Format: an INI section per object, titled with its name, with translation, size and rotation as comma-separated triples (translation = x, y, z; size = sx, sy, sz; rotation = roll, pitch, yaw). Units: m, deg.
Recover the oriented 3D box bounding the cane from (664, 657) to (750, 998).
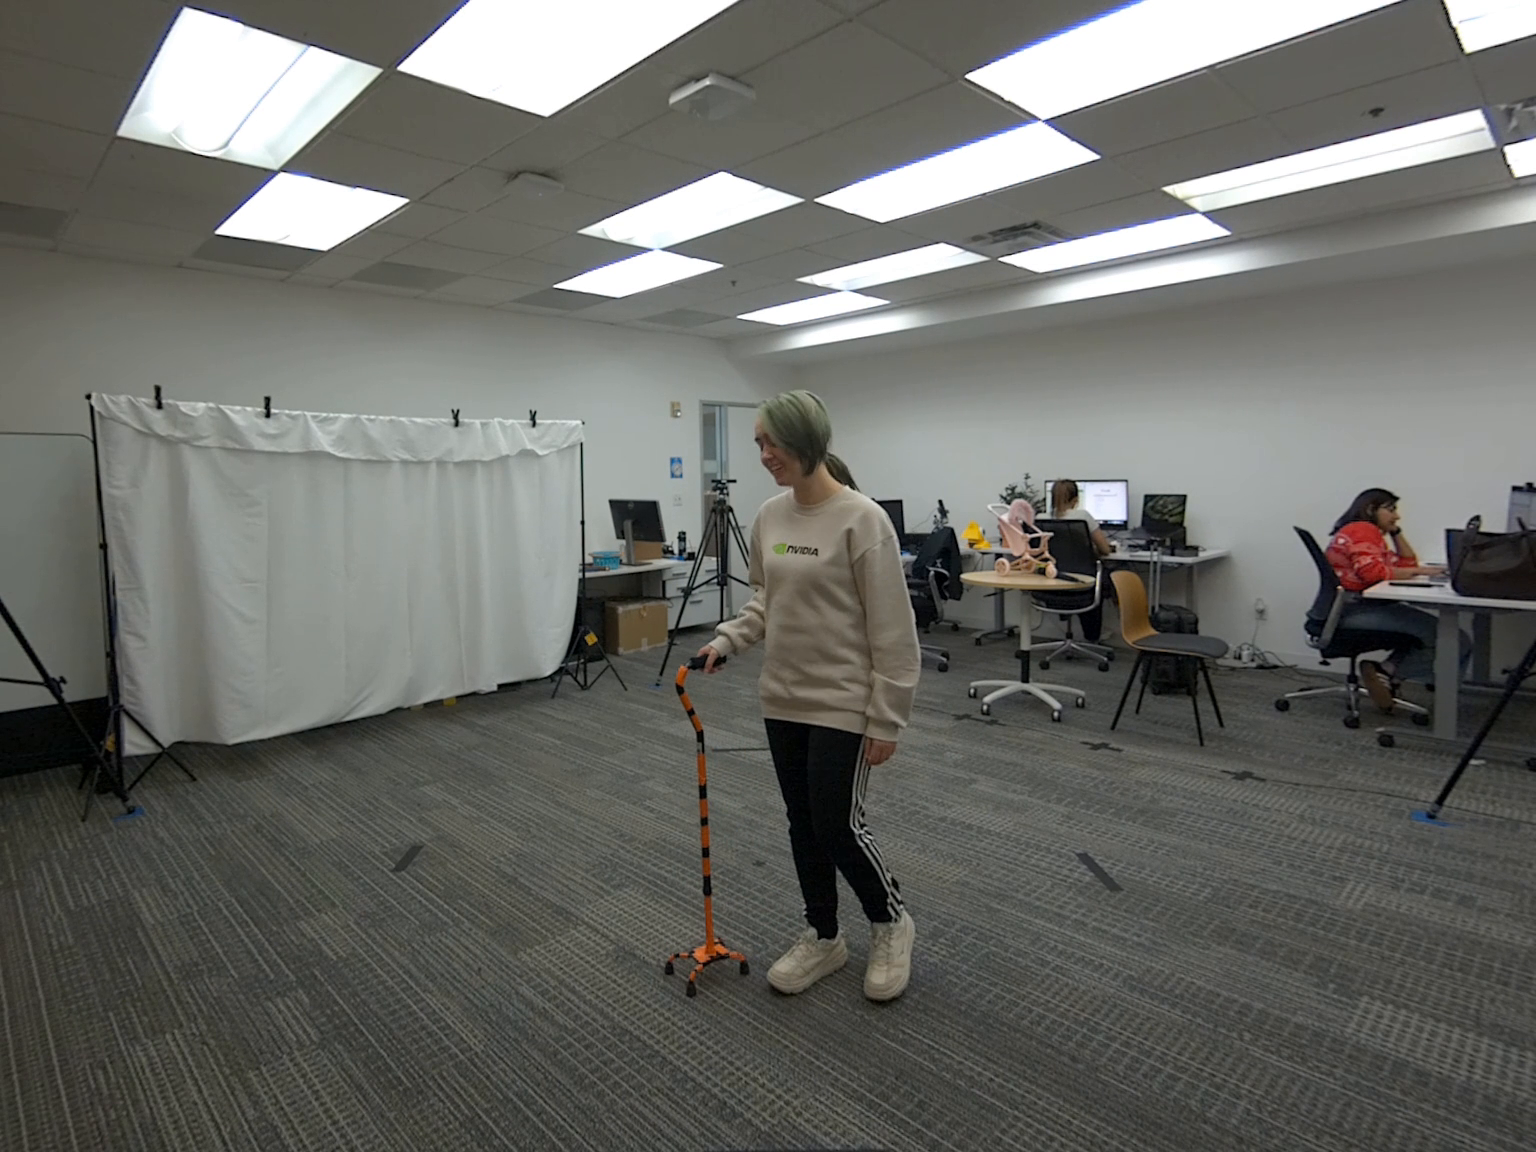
[cane]
translation = -0.187, 0.677, 2.405
size = 0.201, 0.906, 0.156
rotation = -4, 3, -36
